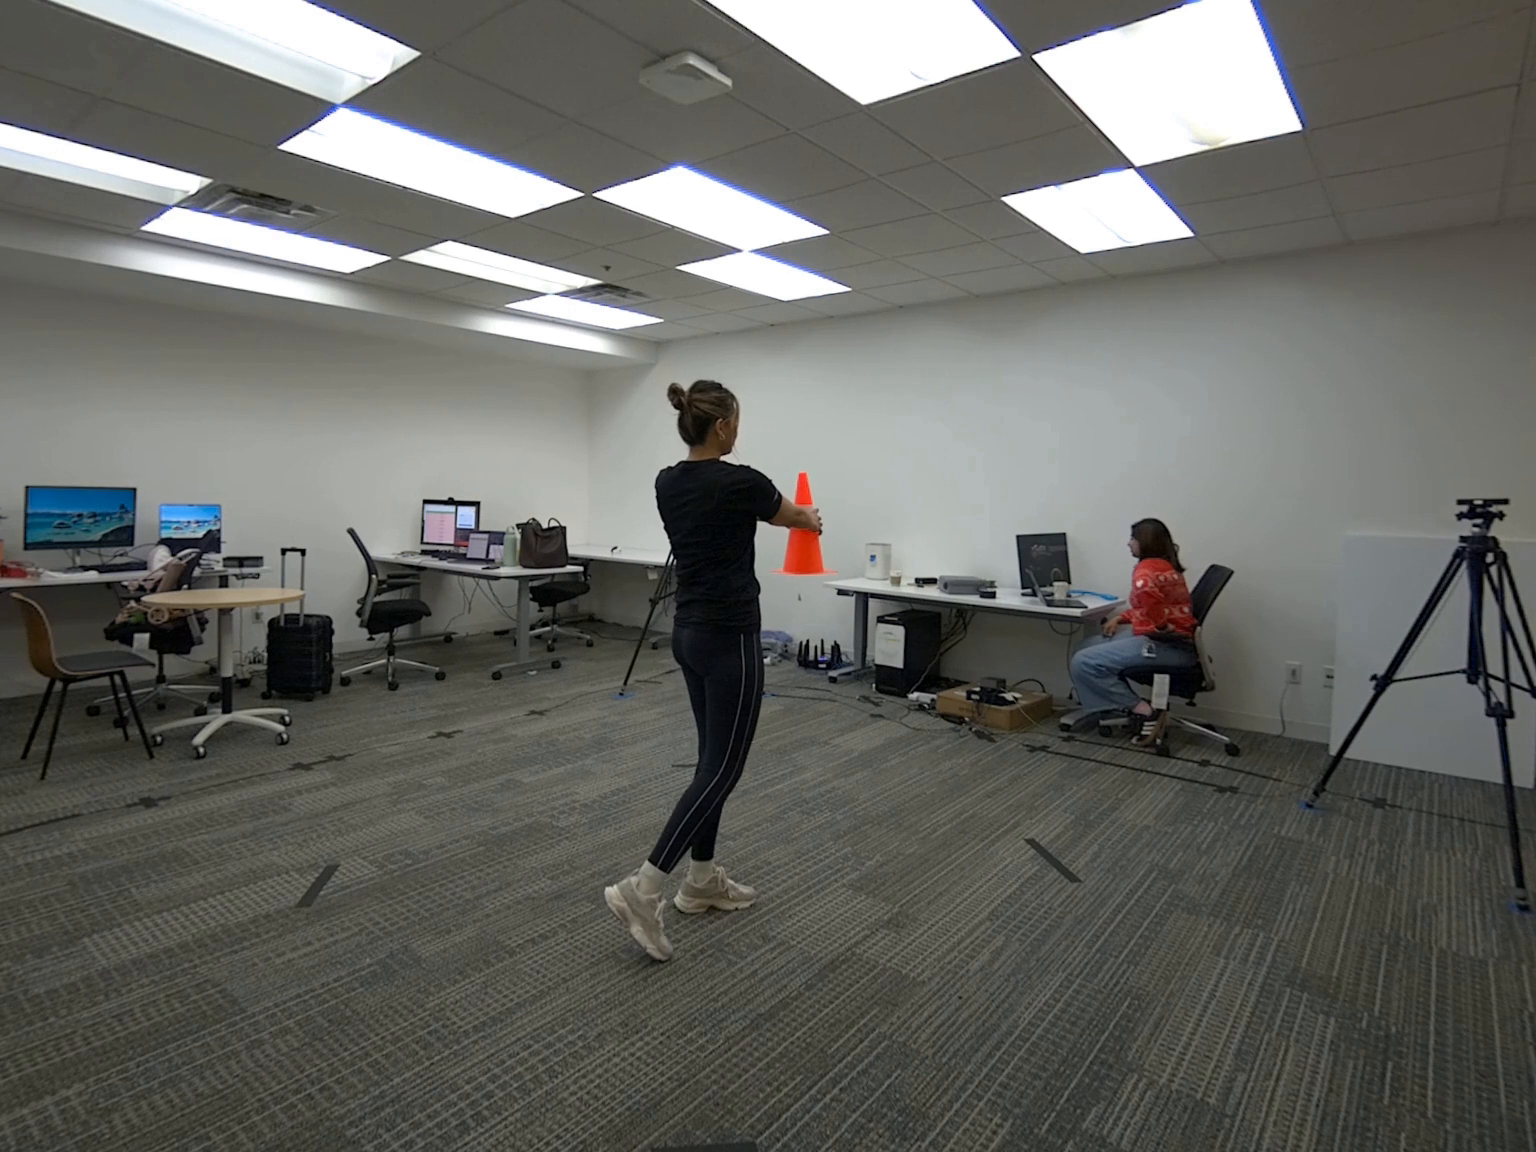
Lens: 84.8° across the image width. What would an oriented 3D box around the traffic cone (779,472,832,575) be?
[{"bbox_3d":[0.132,-0.209,3.264,0.197,0.382,0.212,-6,7,-40],"label":"traffic cone"}]
